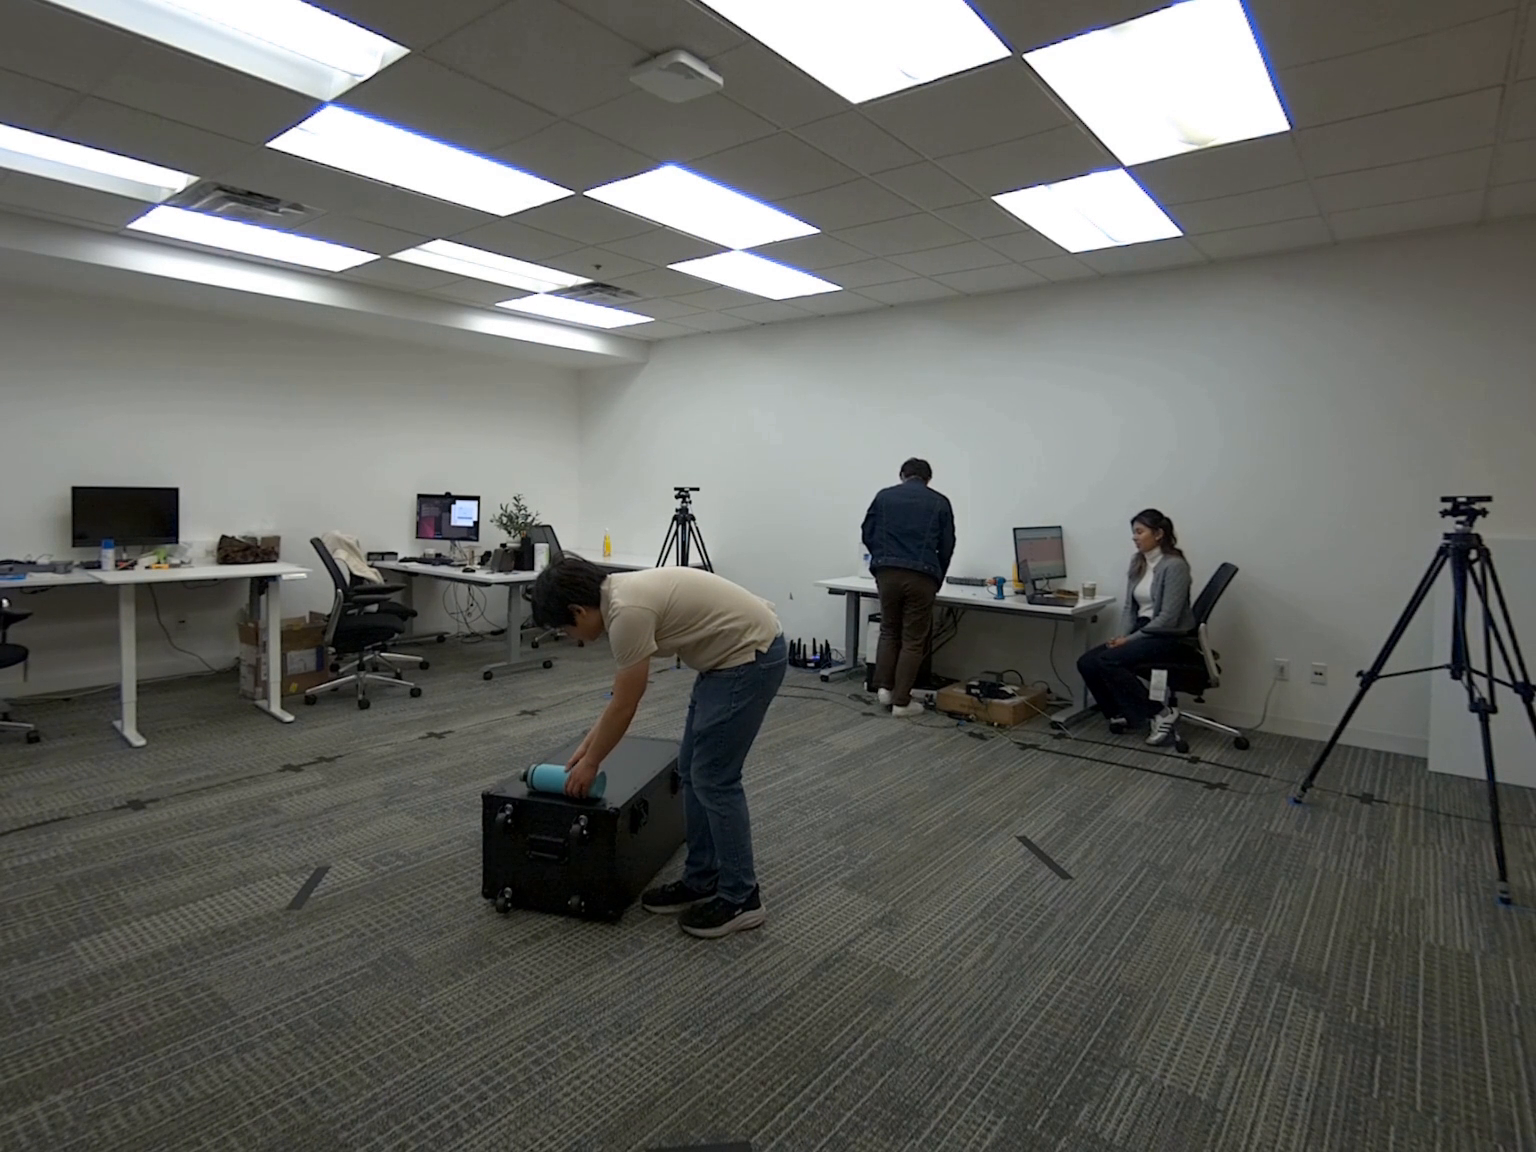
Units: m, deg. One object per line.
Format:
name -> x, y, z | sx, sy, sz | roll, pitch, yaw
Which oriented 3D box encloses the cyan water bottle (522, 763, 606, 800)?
cyan water bottle -> -0.695, 0.672, 2.814 | 0.287, 0.092, 0.091 | 3, 4, 13
